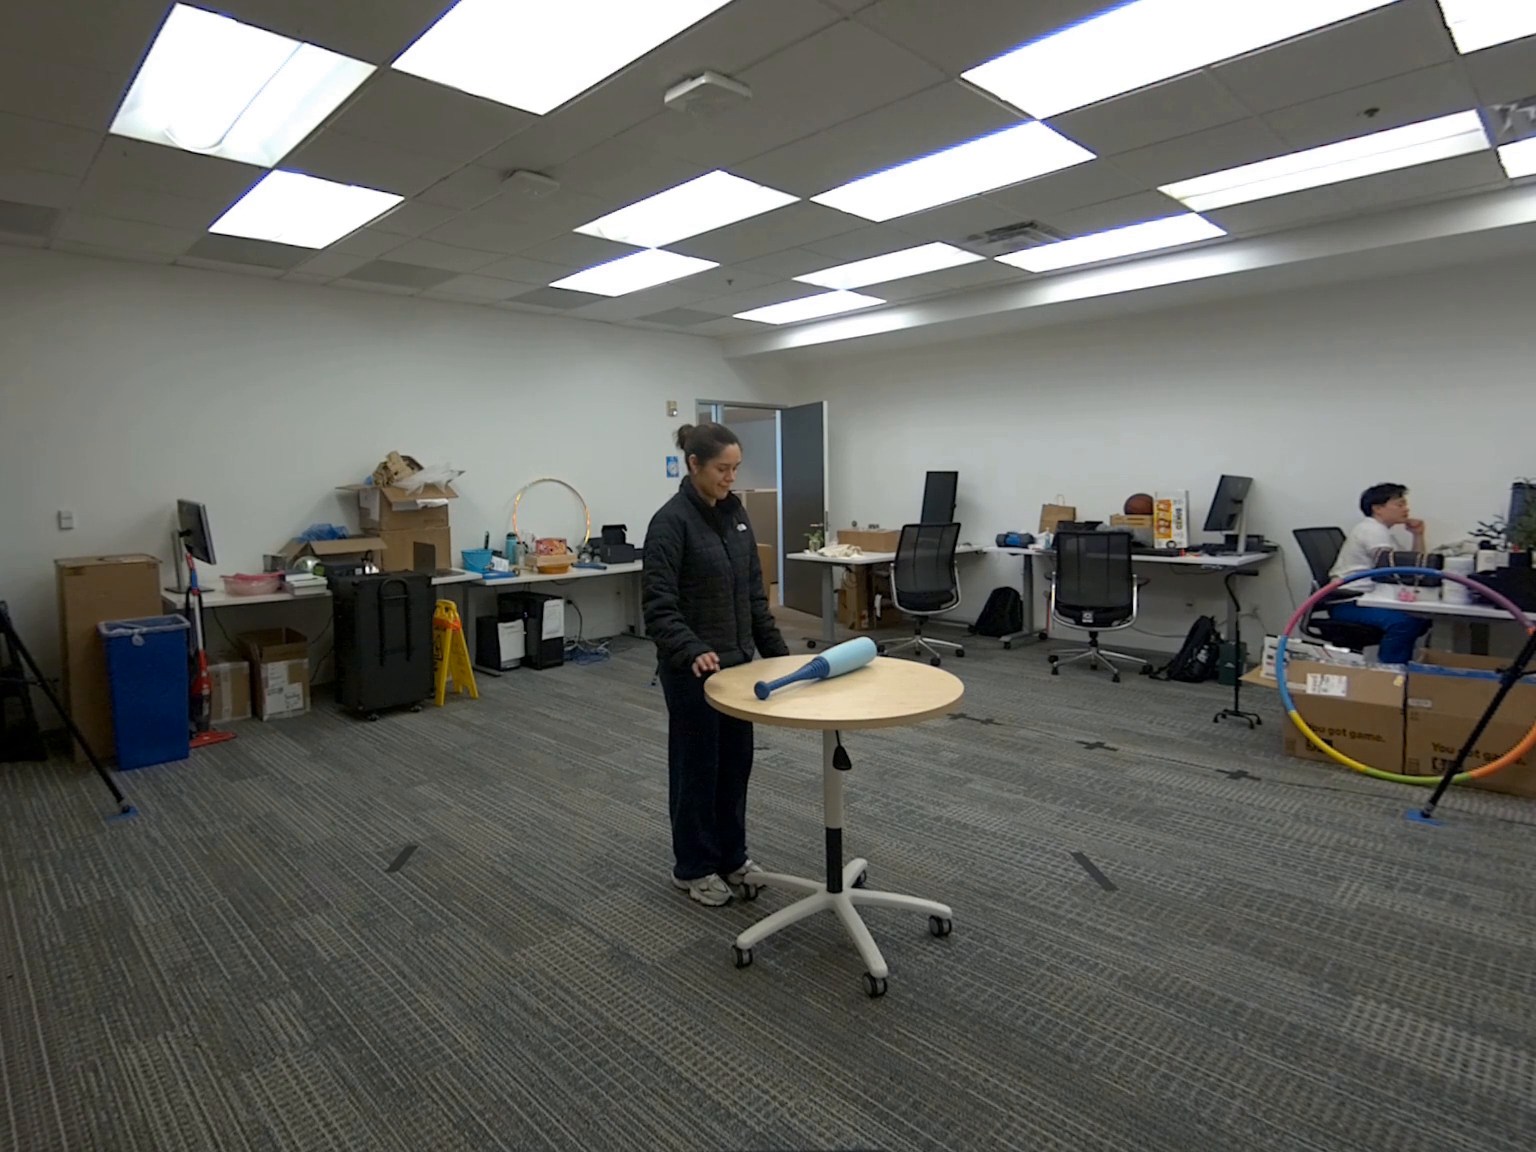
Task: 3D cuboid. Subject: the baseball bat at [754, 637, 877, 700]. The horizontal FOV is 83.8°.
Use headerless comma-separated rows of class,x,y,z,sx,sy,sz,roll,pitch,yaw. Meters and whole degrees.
baseball bat,0.146,0.279,2.585,0.092,0.088,0.530,3,11,42
